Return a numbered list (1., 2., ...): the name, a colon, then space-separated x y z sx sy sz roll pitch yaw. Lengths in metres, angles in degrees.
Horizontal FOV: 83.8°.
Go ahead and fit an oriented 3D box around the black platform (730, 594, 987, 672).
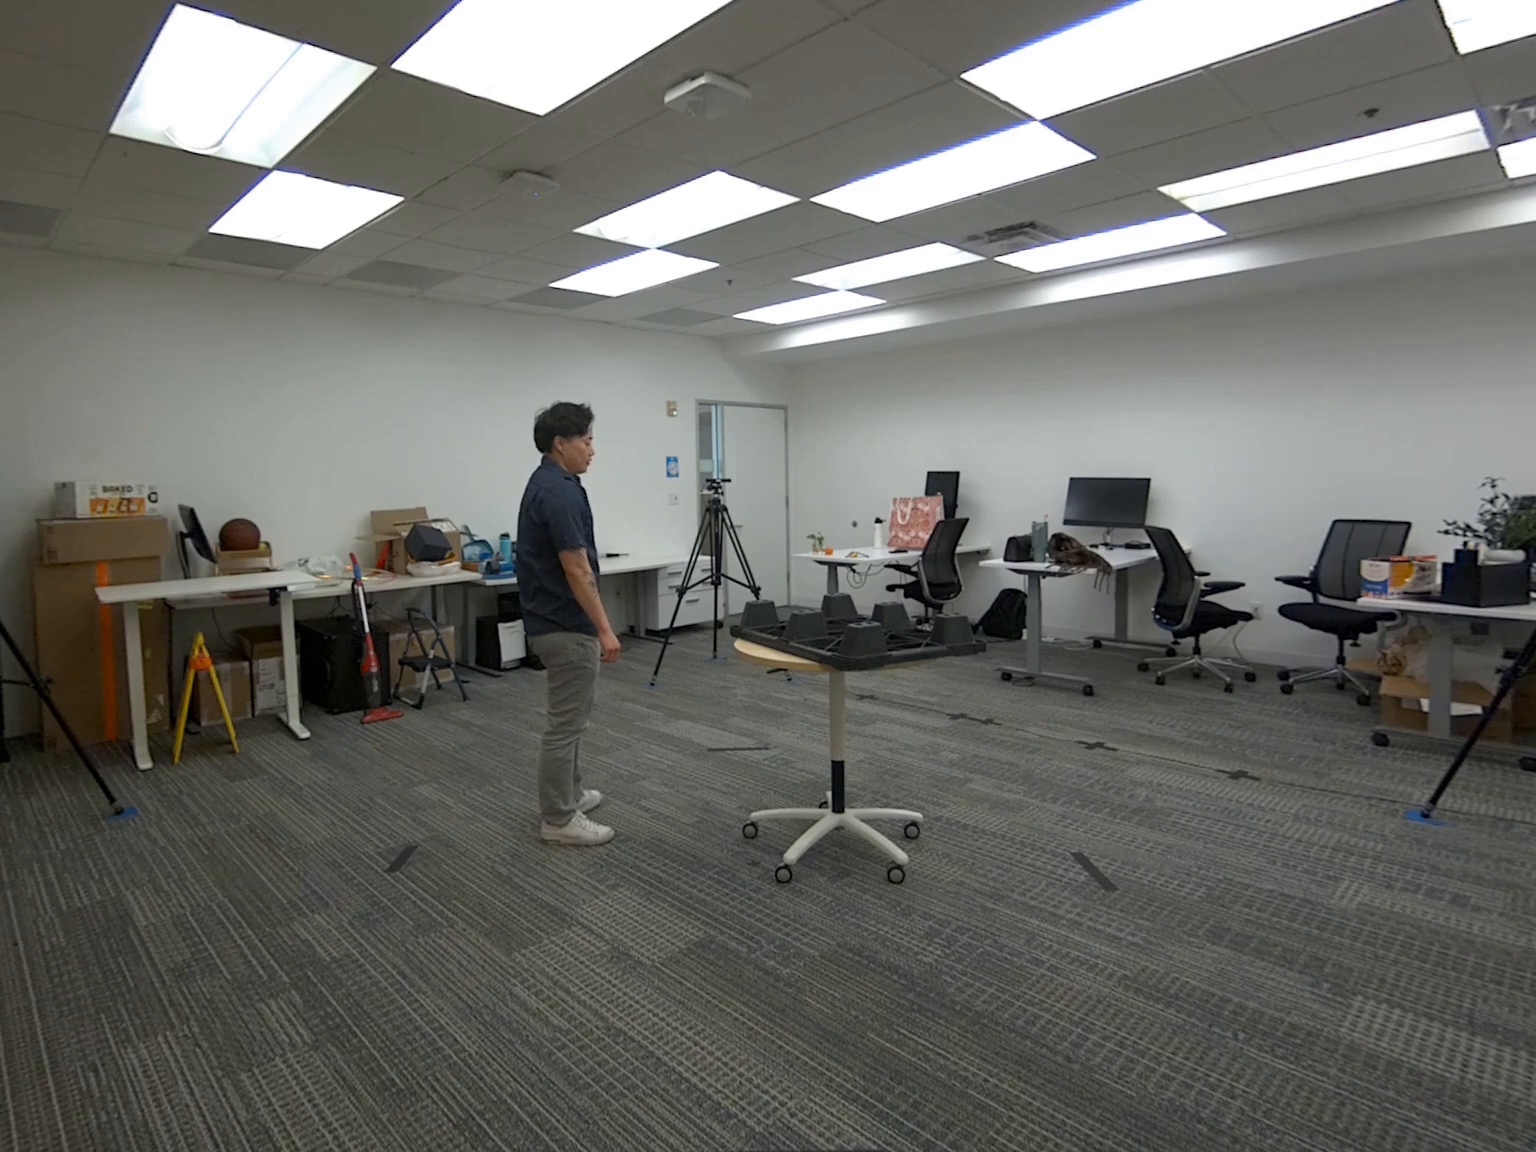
1. black platform: 0.304 0.182 3.156 0.591 0.143 0.828 -5 7 -29
